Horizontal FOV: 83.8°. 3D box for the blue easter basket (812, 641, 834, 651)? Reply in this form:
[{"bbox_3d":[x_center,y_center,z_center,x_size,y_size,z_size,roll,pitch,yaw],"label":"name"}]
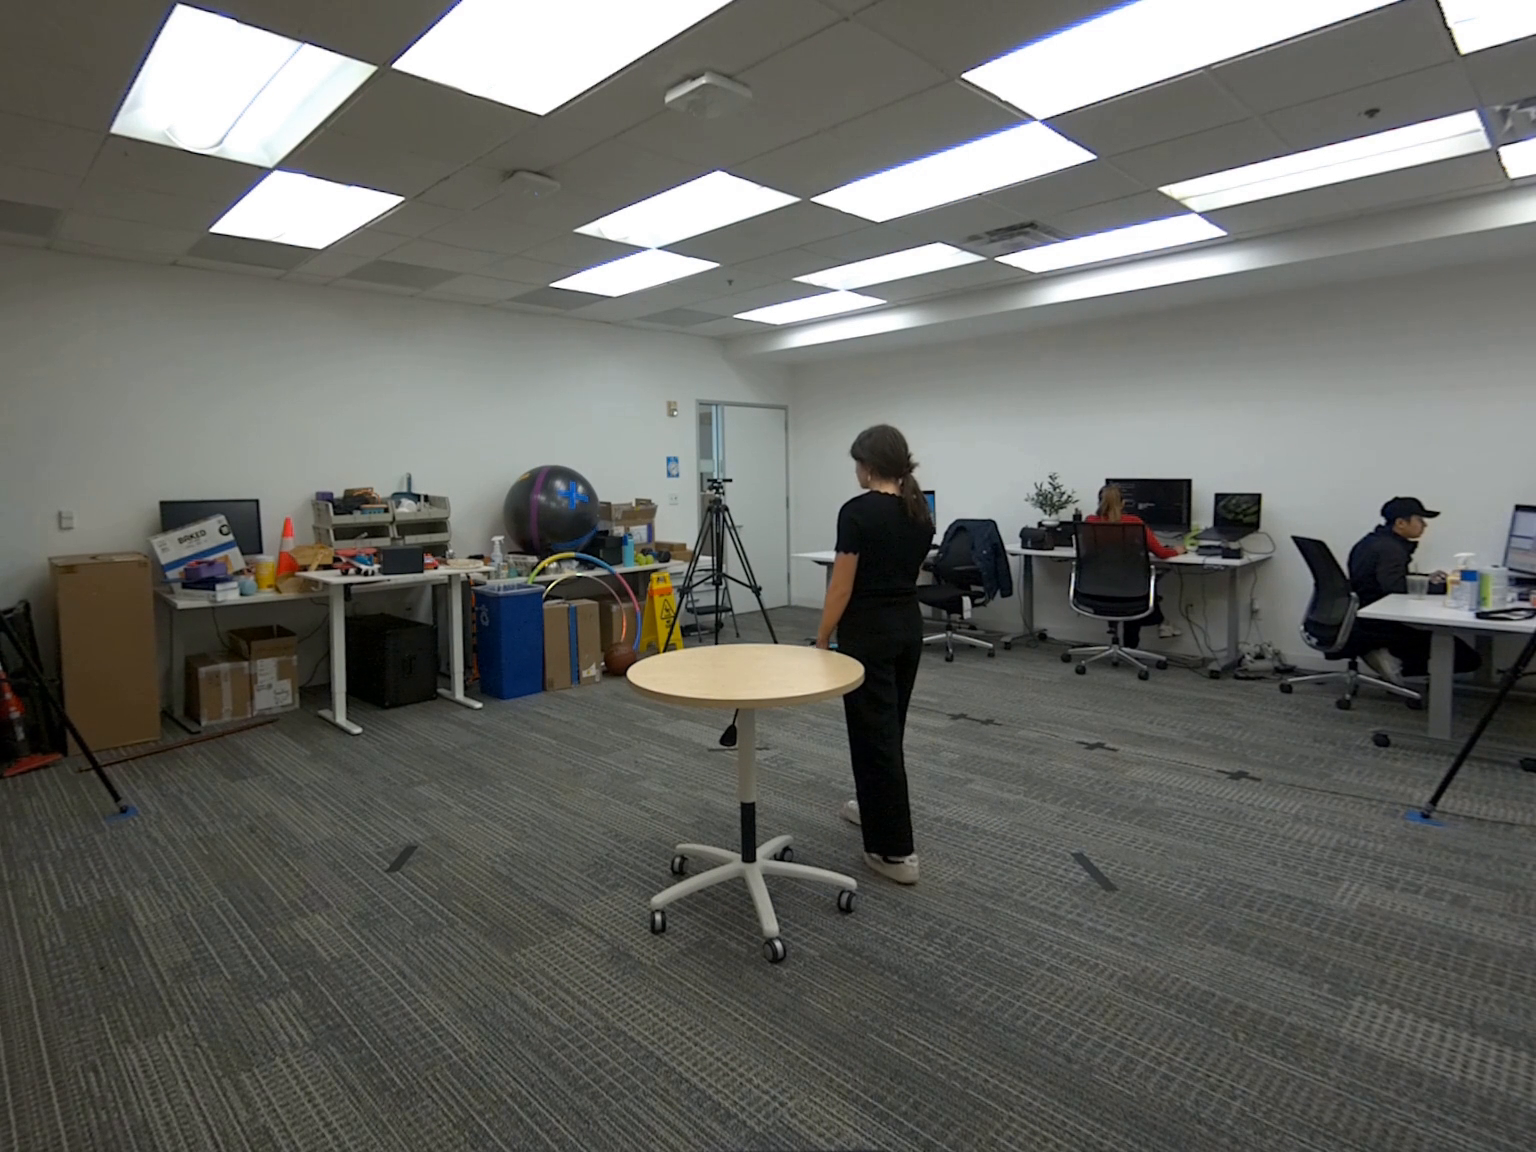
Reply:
[{"bbox_3d":[0.259,0.342,3.302,0.243,0.156,0.243,-5,-2,-2],"label":"blue easter basket"}]
